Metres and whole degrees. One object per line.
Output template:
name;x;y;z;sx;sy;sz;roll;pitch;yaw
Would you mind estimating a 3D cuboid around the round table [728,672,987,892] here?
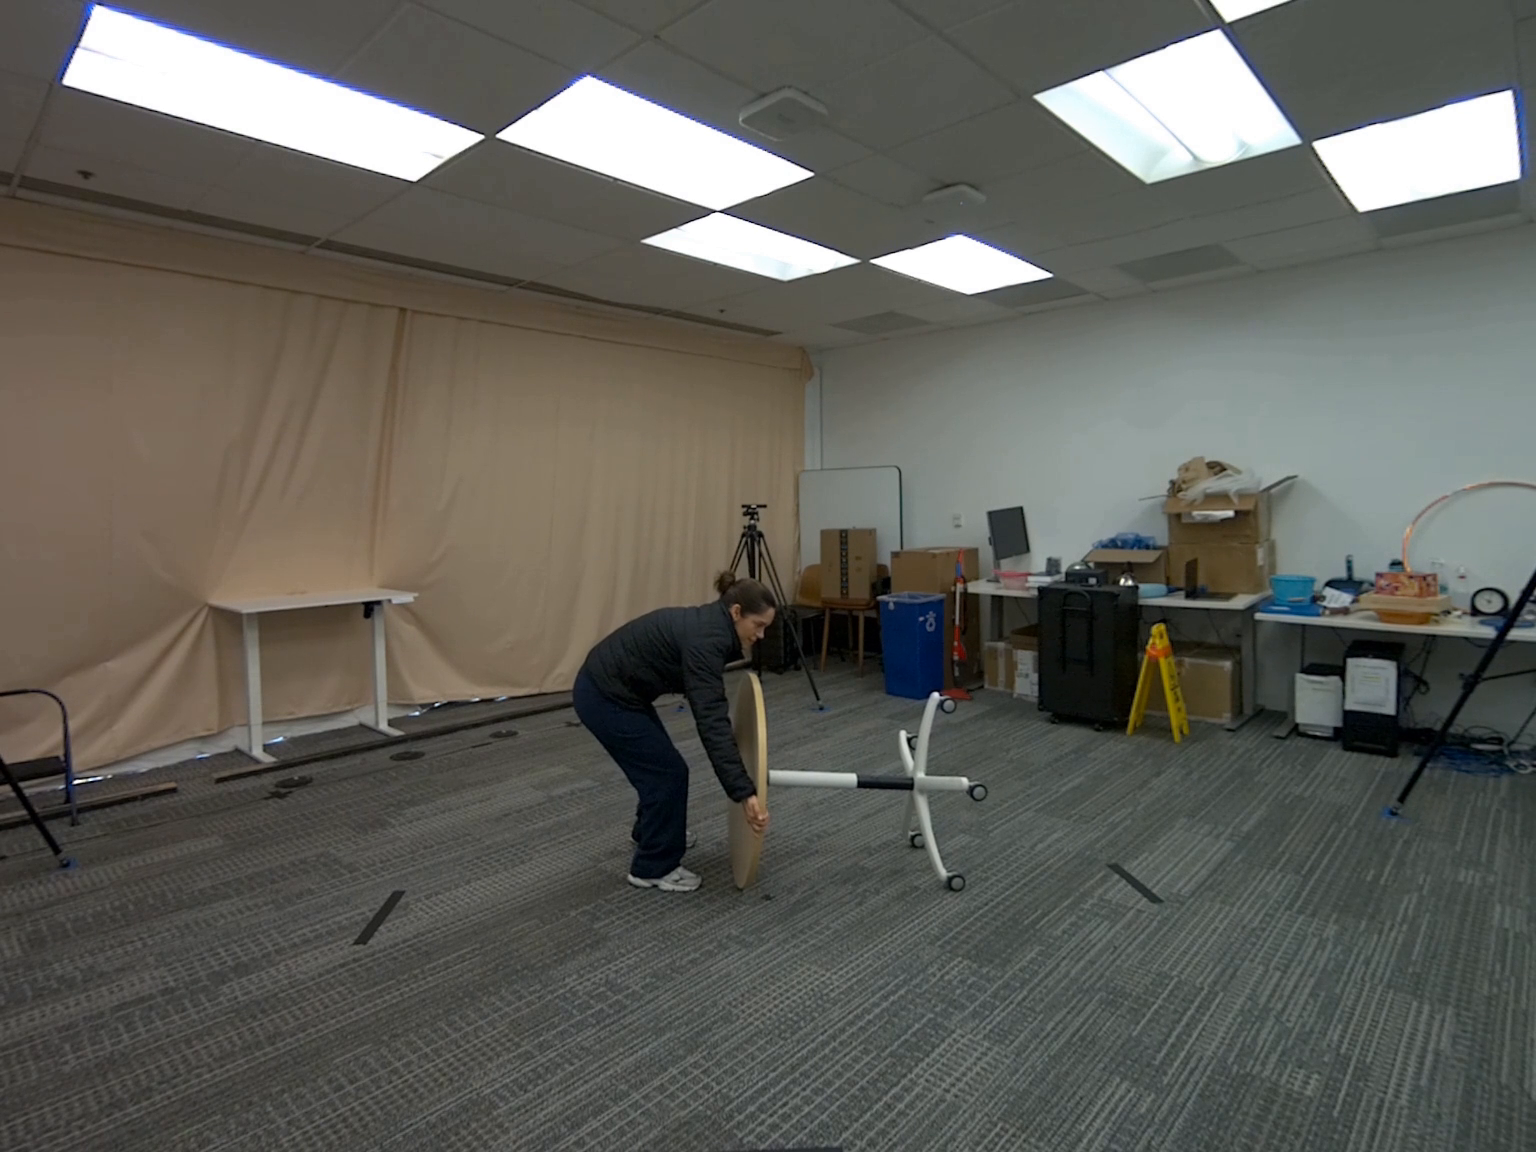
round table;0.308;0.781;3.163;0.781;0.784;0.792;4;3;-8
